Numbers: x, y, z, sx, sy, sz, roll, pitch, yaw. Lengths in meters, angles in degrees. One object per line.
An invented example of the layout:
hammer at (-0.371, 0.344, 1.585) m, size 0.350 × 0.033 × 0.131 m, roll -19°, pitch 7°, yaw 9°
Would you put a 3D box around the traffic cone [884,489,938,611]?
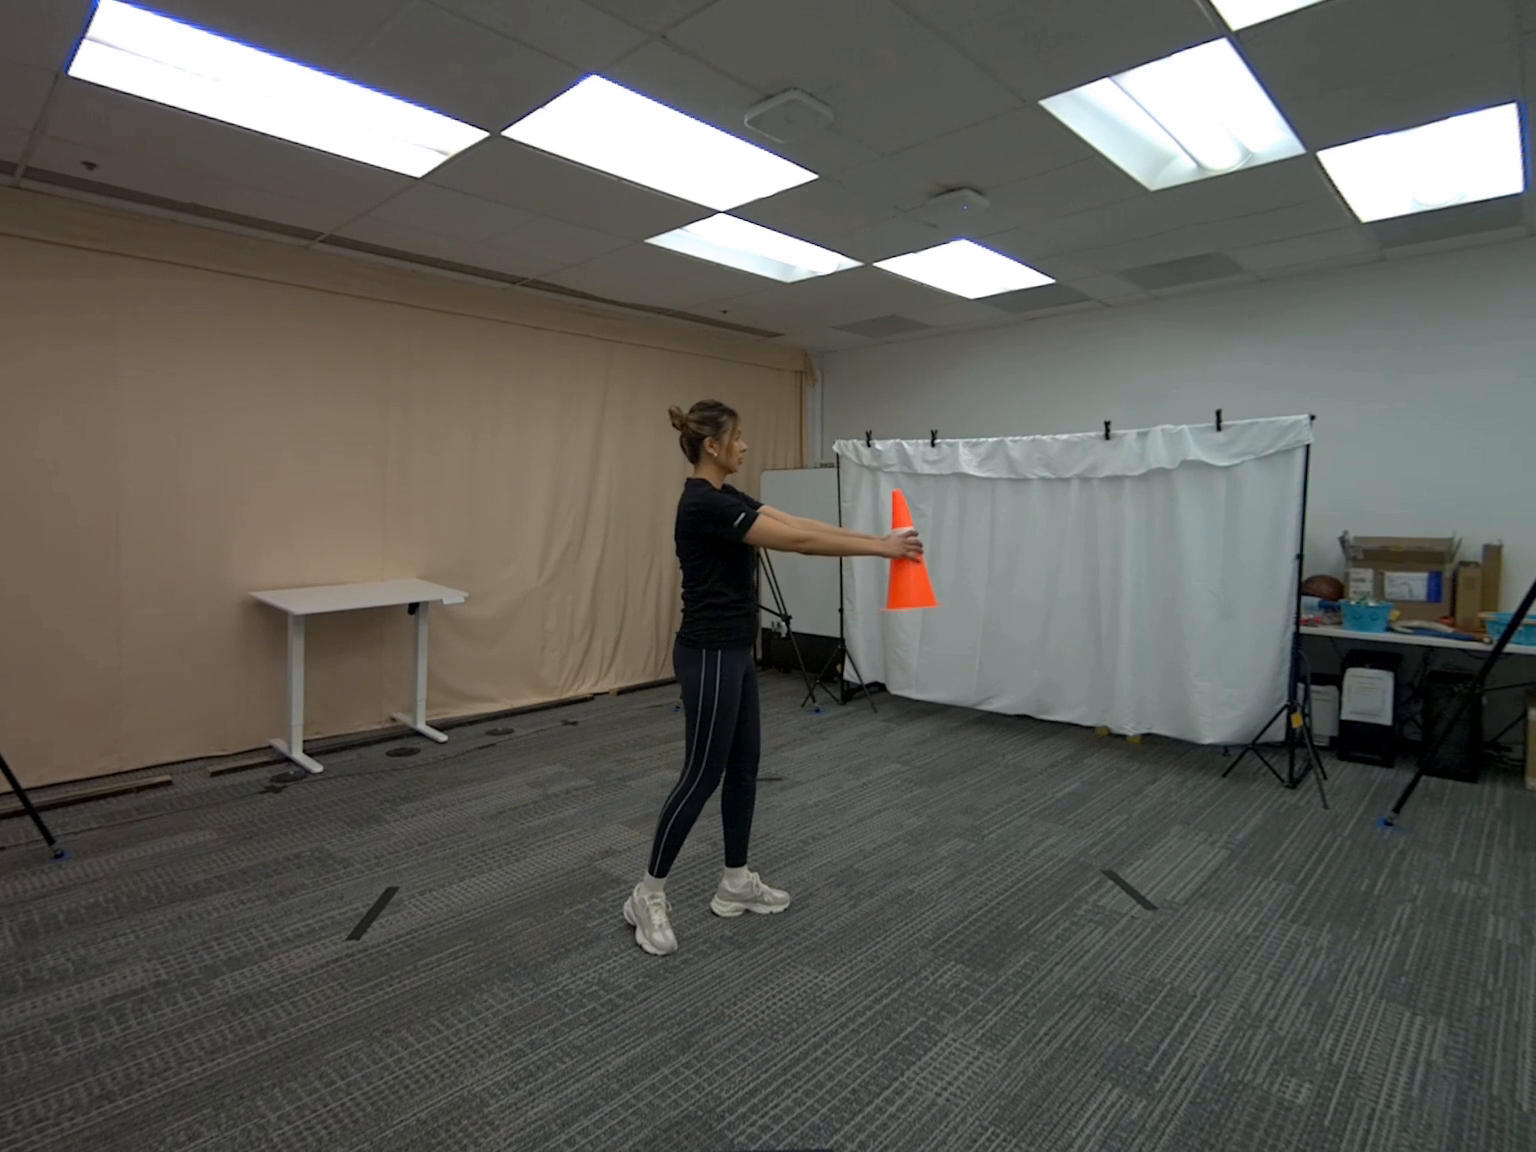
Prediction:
traffic cone at (0.445, -0.088, 2.713) m, size 0.207 × 0.383 × 0.201 m, roll -5°, pitch 2°, yaw 9°
